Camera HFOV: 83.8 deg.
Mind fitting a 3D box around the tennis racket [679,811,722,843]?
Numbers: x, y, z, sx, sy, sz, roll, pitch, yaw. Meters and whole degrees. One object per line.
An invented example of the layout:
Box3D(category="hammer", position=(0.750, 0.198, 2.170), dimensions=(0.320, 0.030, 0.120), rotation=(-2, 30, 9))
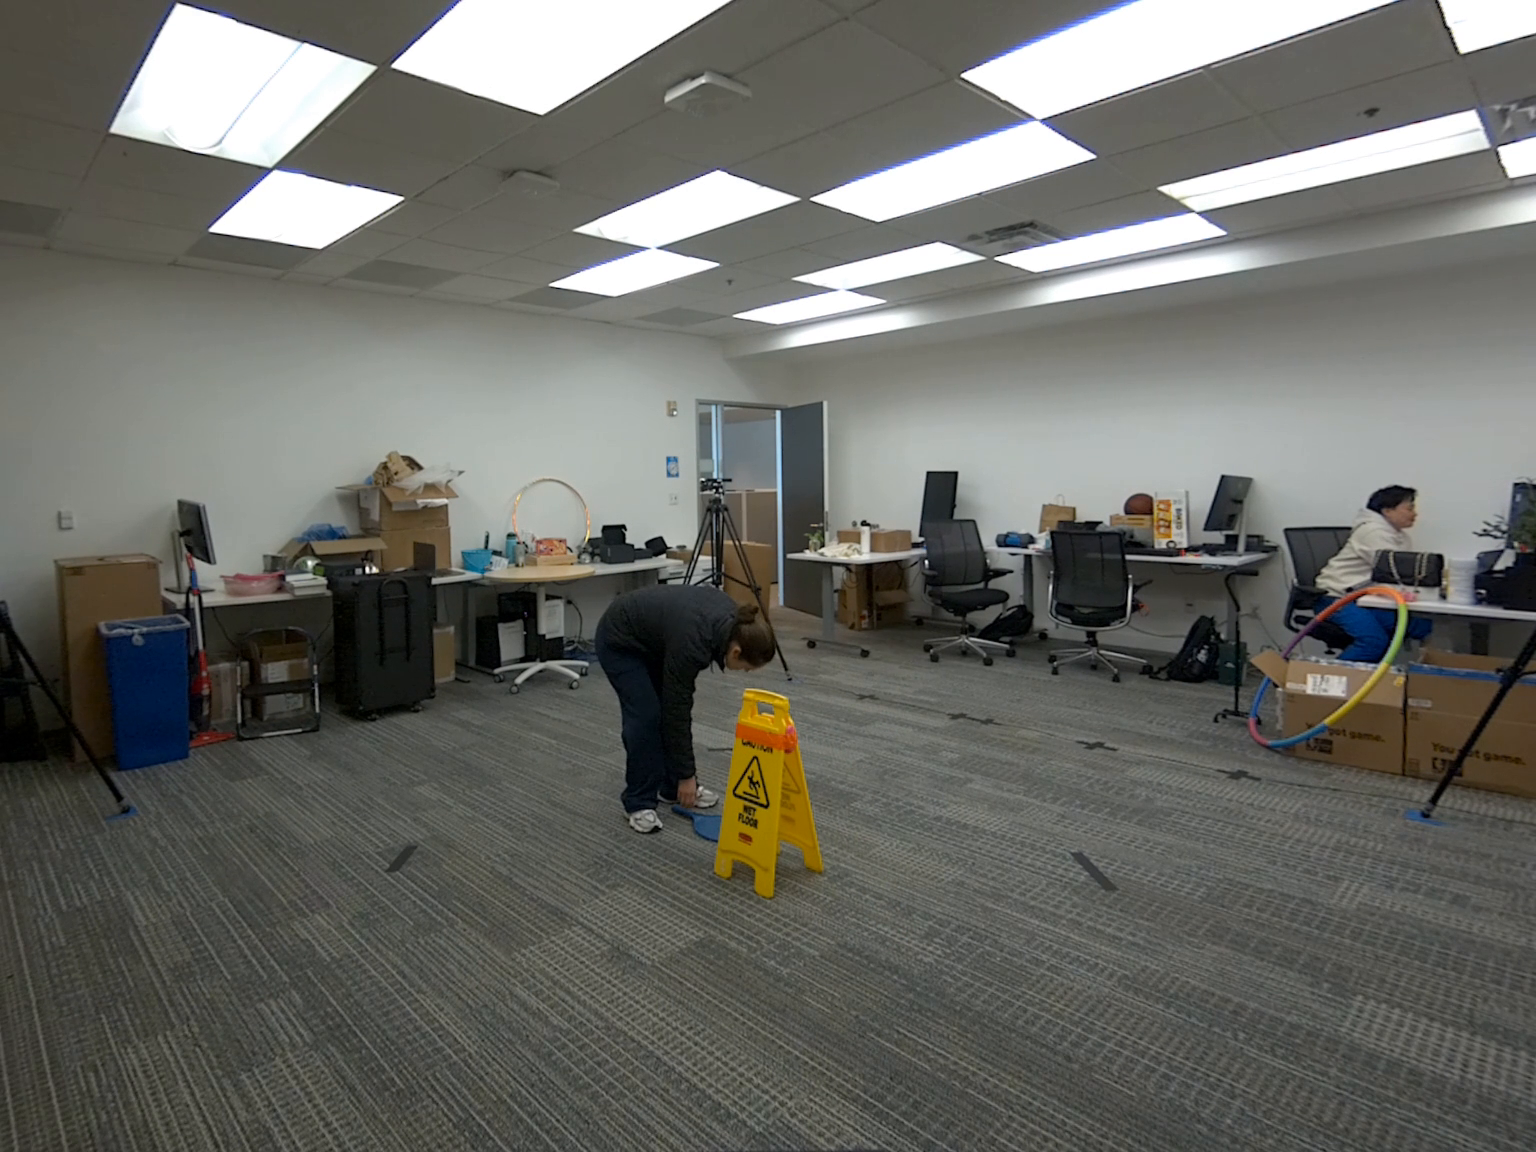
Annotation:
Box3D(category="tennis racket", position=(-0.238, 0.991, 3.458), dimensions=(0.447, 0.031, 0.208), rotation=(7, 8, 44))
